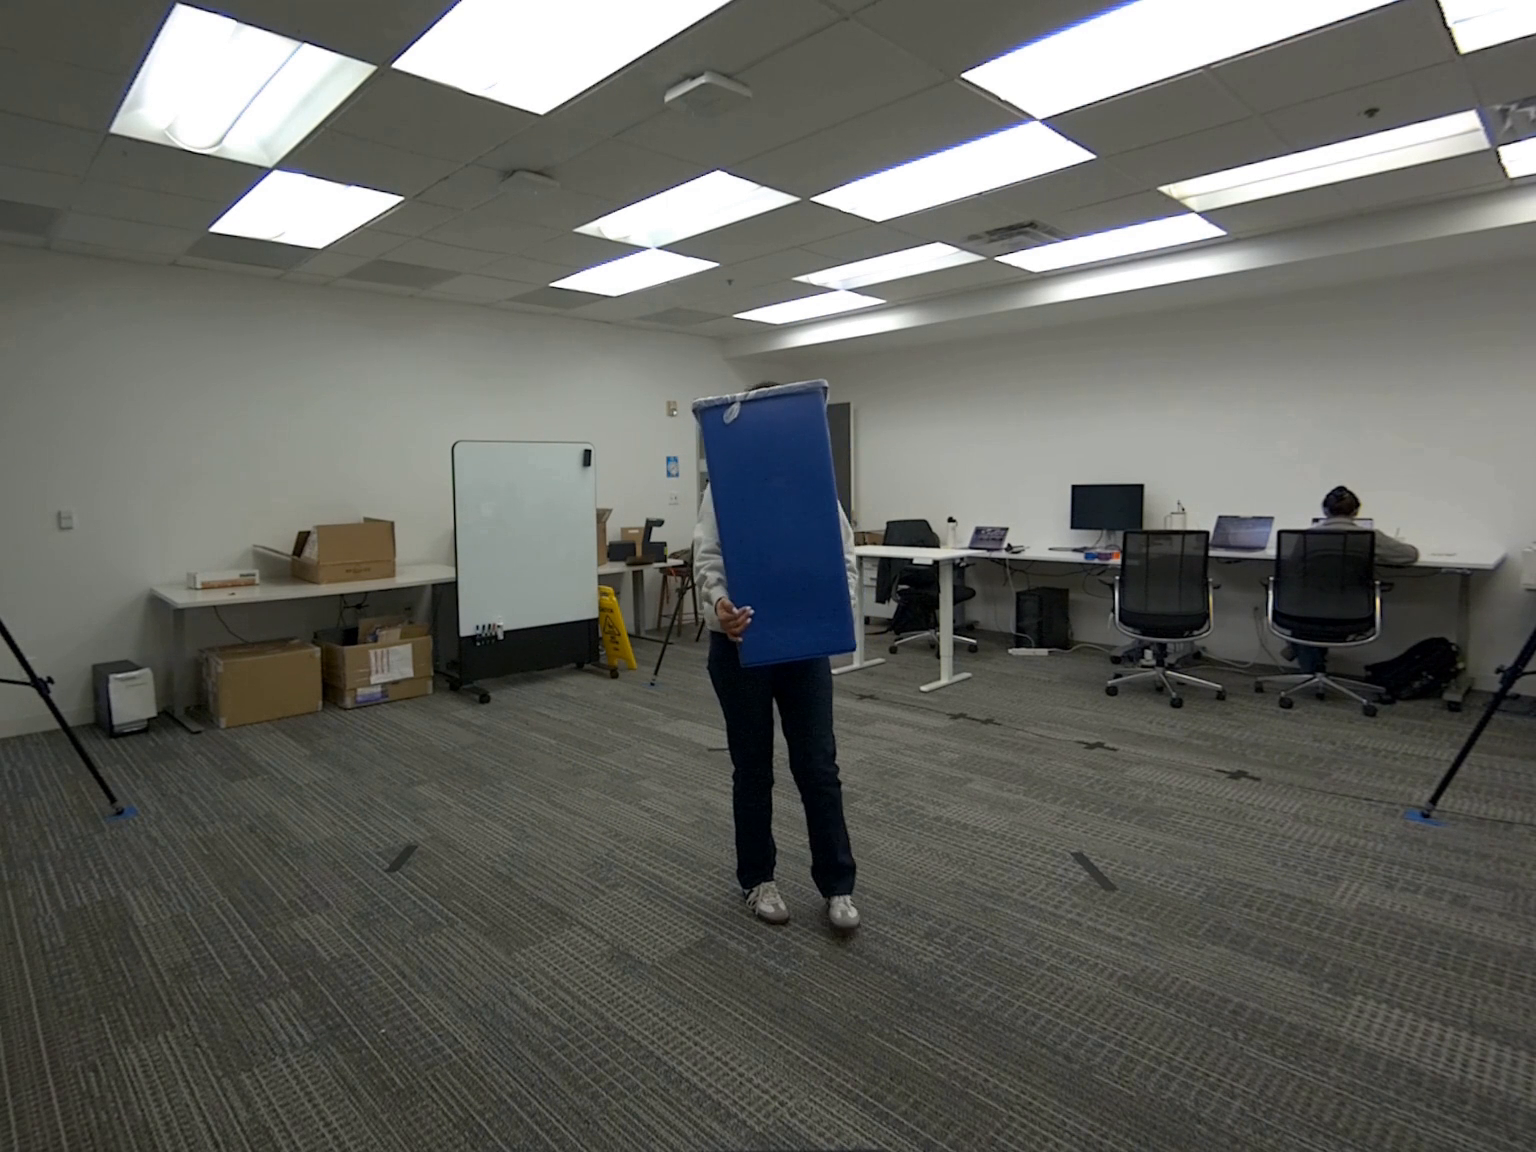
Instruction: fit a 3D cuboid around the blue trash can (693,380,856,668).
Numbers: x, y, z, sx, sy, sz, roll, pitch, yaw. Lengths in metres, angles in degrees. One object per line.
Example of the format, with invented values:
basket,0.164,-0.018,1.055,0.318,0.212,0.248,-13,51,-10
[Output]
blue trash can,0.030,-0.130,2.383,0.379,0.718,0.370,-8,-6,3
